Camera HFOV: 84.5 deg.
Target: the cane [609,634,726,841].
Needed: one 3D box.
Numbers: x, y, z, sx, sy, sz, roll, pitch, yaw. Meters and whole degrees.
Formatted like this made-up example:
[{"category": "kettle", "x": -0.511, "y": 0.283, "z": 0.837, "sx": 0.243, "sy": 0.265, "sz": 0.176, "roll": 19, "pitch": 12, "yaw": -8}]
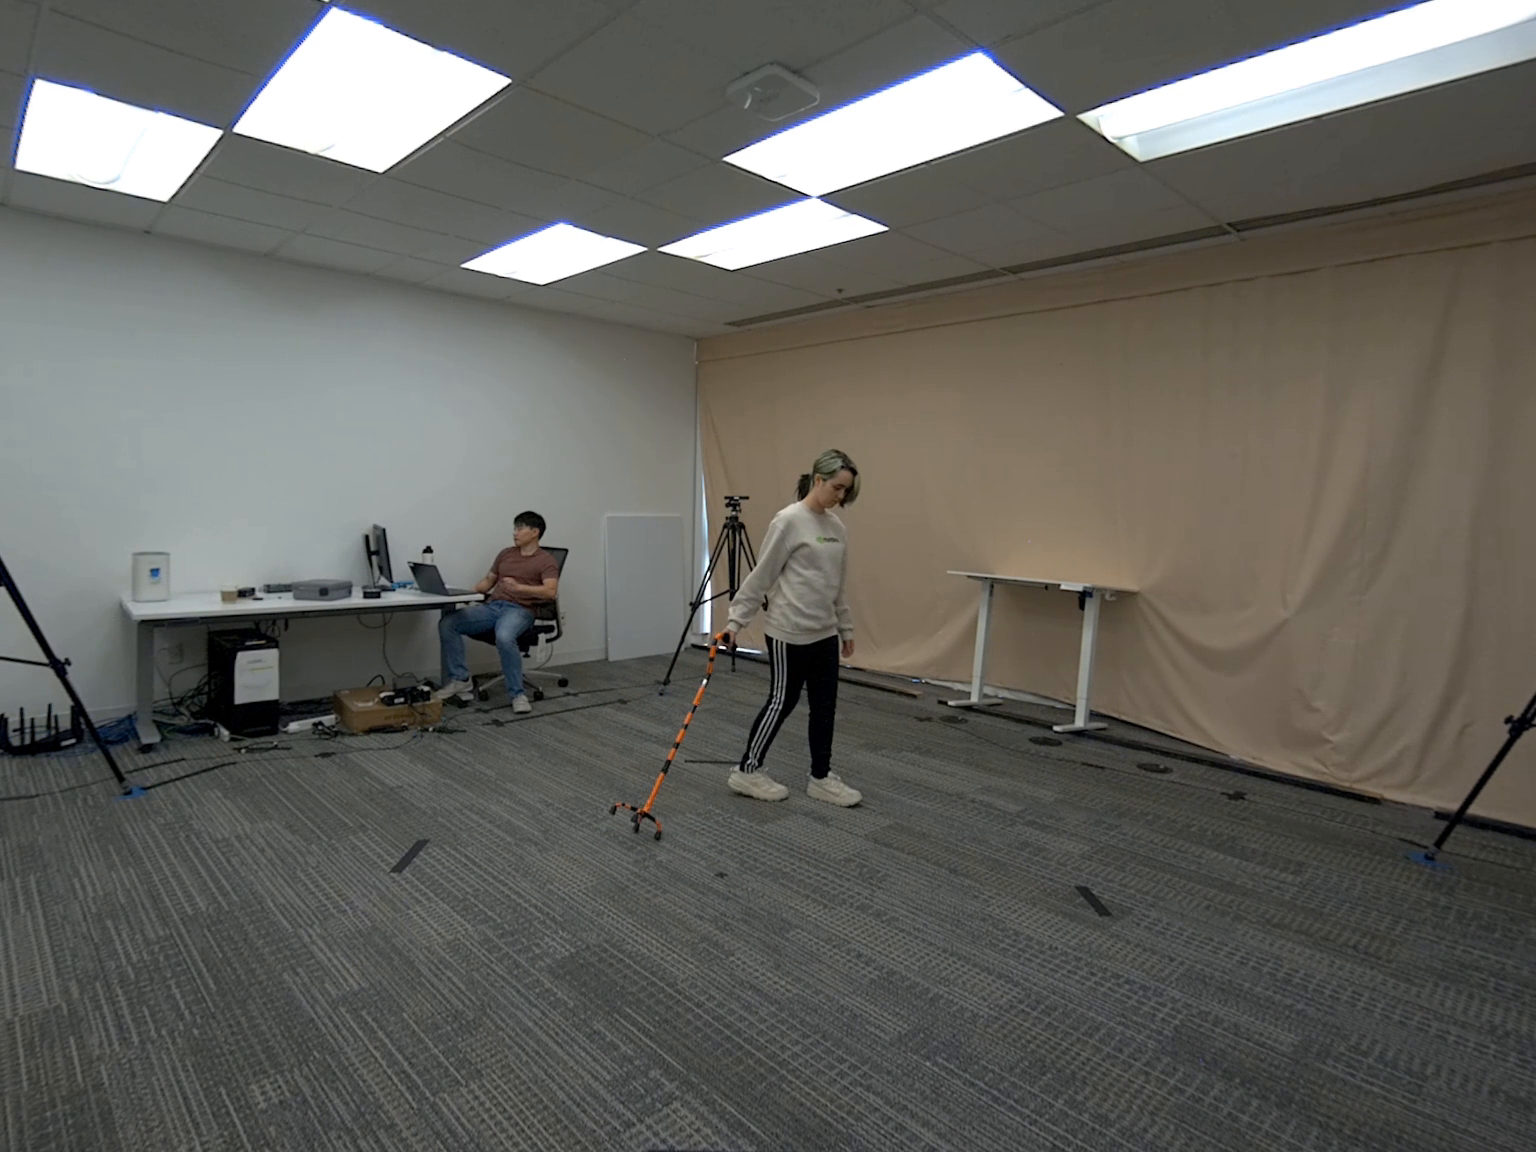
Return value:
[{"category": "cane", "x": -0.377, "y": 0.638, "z": 3.585, "sx": 0.155, "sy": 0.915, "sz": 0.200, "roll": 3, "pitch": -34, "yaw": 34}]
